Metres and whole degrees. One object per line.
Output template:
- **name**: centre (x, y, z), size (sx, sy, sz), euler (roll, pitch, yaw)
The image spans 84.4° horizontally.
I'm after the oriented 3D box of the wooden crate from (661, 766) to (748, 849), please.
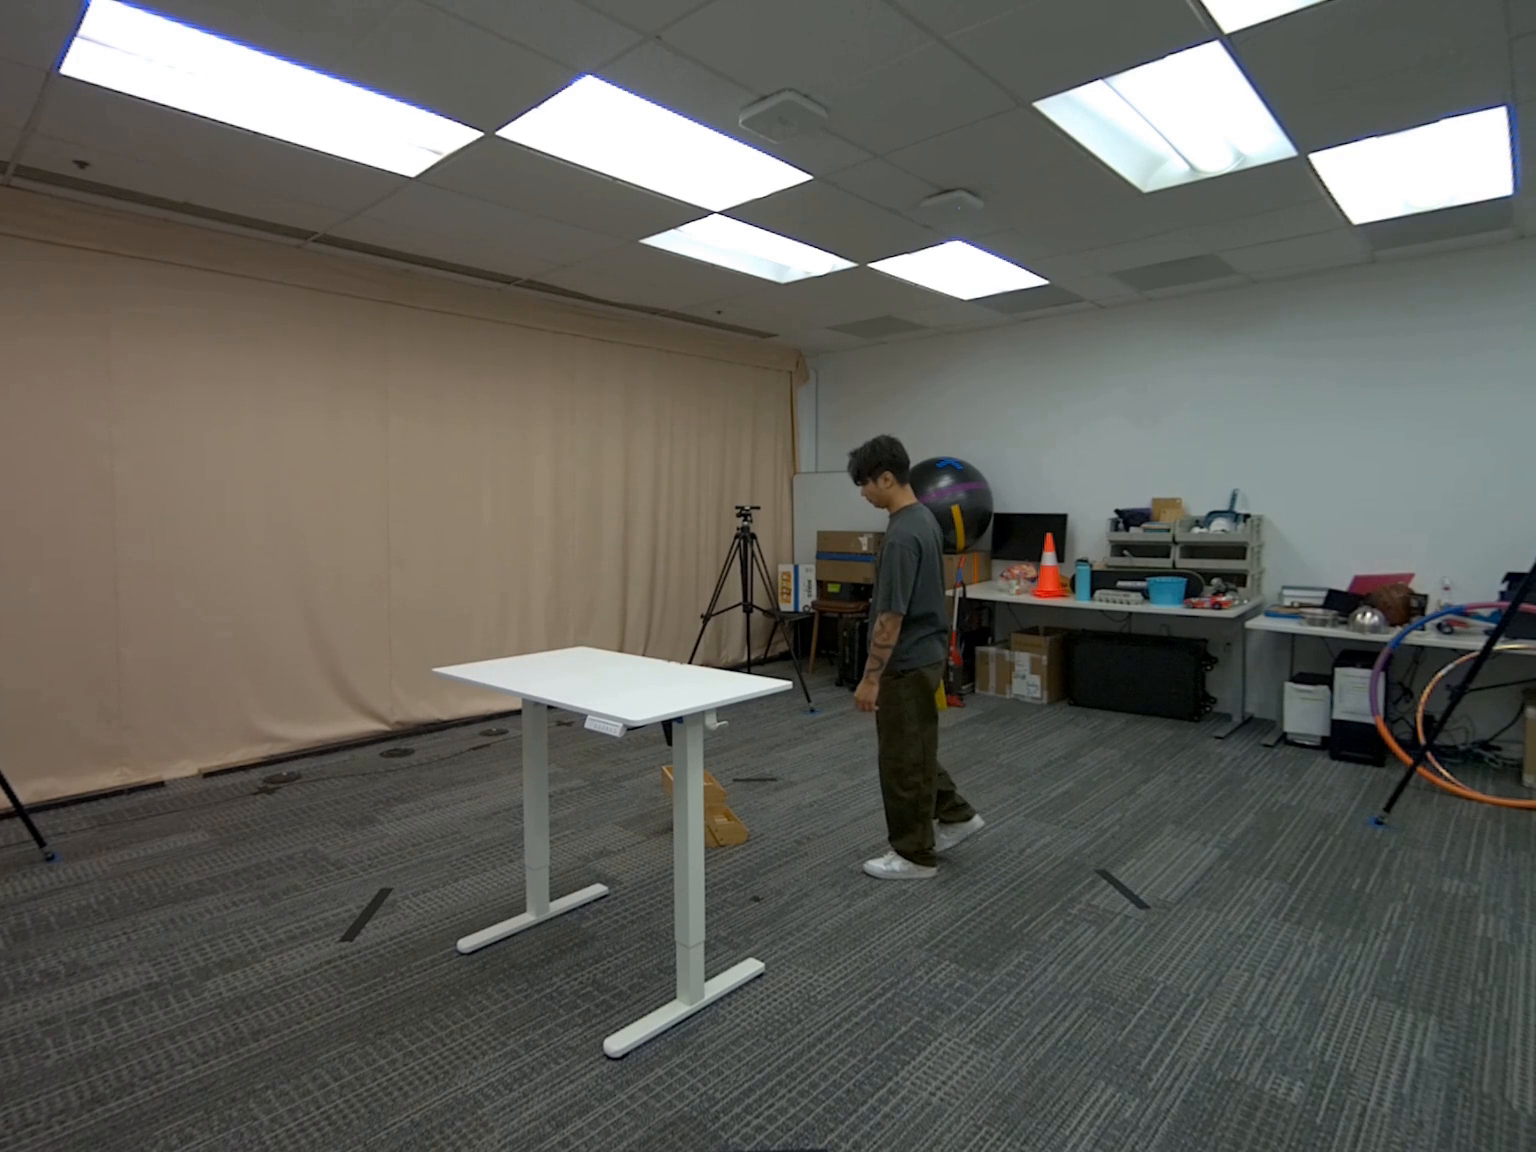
- **wooden crate**: centre (-0.258, 0.968, 3.591), size (0.297, 0.273, 0.331), euler (-2, 3, -18)
